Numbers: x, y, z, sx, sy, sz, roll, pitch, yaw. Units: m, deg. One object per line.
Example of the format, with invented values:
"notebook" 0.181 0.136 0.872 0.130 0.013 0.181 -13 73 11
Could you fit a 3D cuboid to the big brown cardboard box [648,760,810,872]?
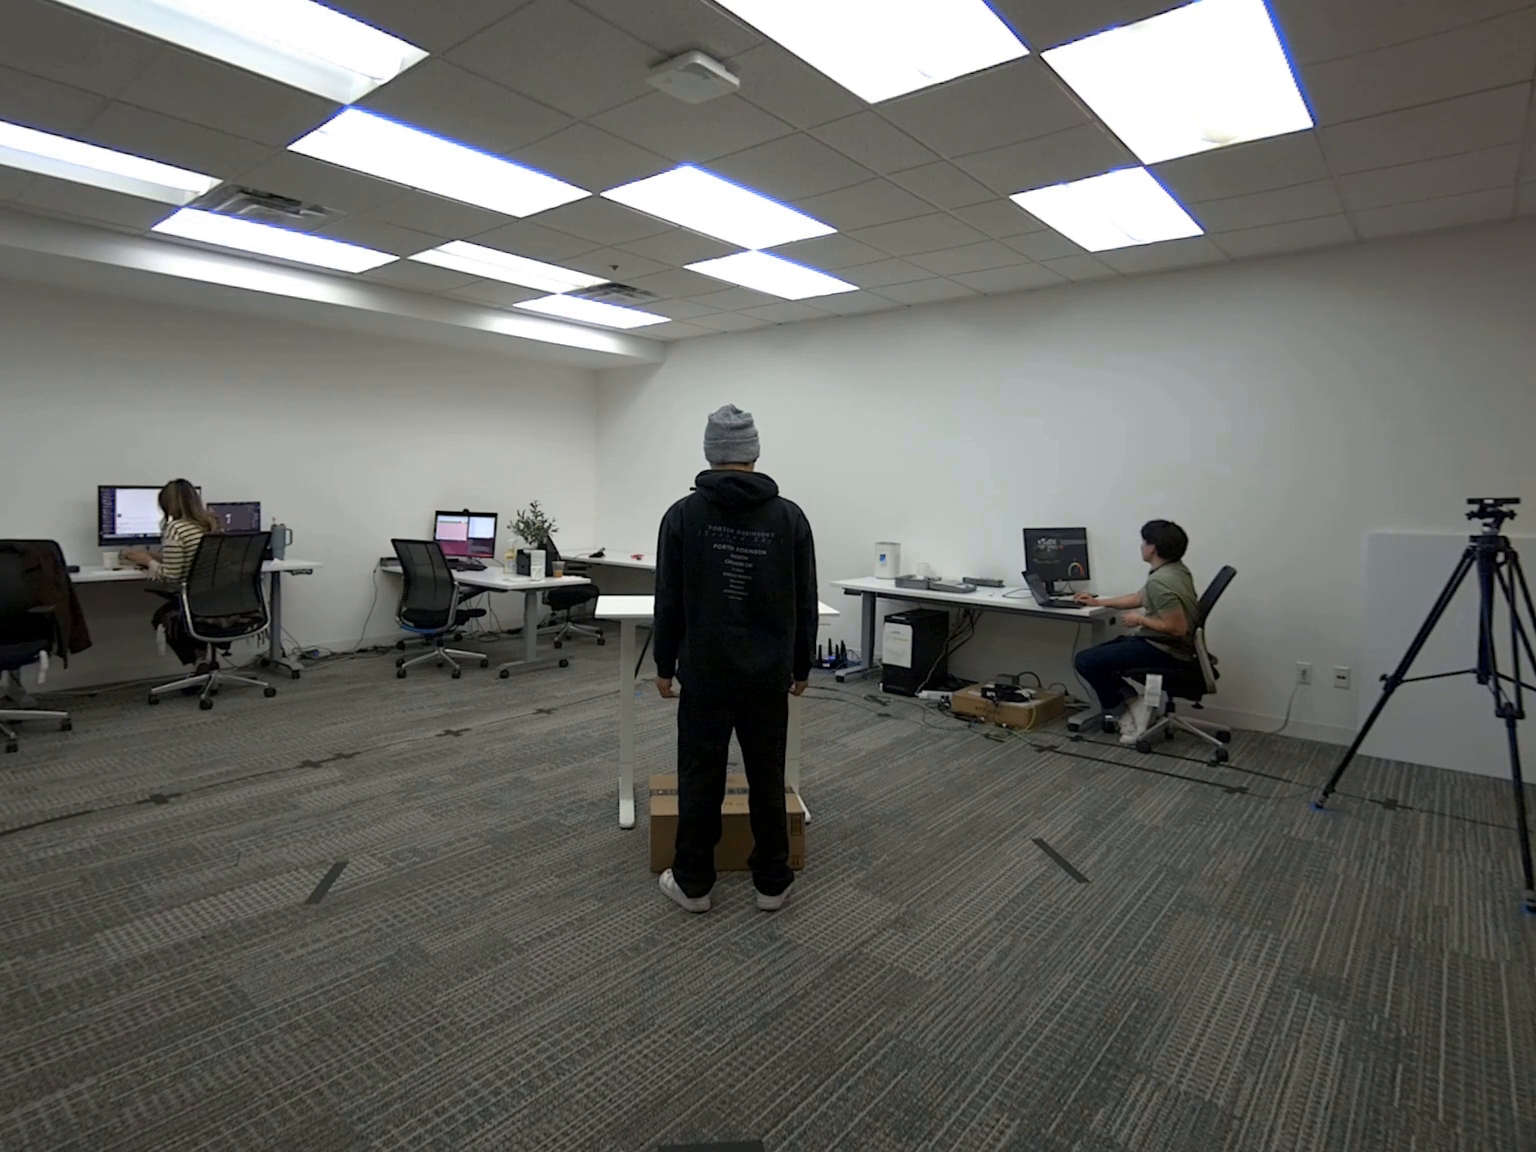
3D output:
"big brown cardboard box" -0.182 0.935 3.281 0.586 0.232 0.422 1 5 -6
